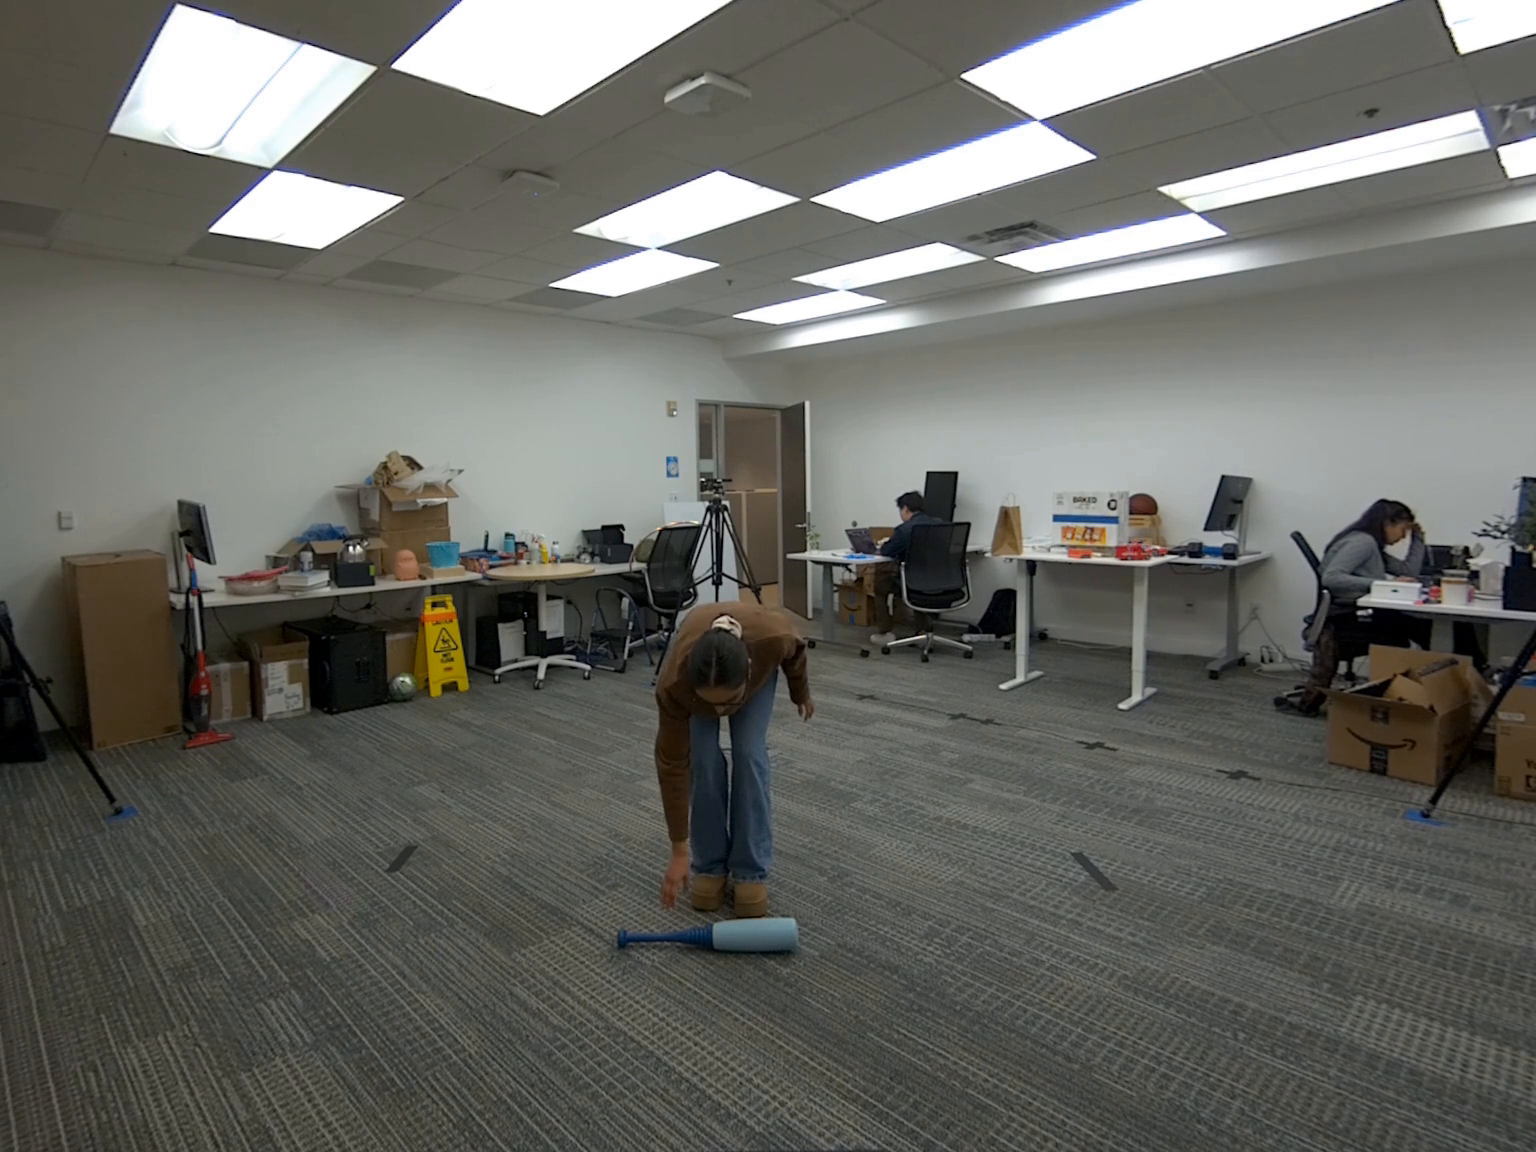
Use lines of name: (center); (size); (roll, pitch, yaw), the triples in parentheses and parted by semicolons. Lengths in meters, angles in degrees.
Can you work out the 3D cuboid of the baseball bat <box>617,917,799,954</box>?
baseball bat: (-0.179, 1.079, 2.549); (0.545, 0.089, 0.089); (-4, 5, 5)
